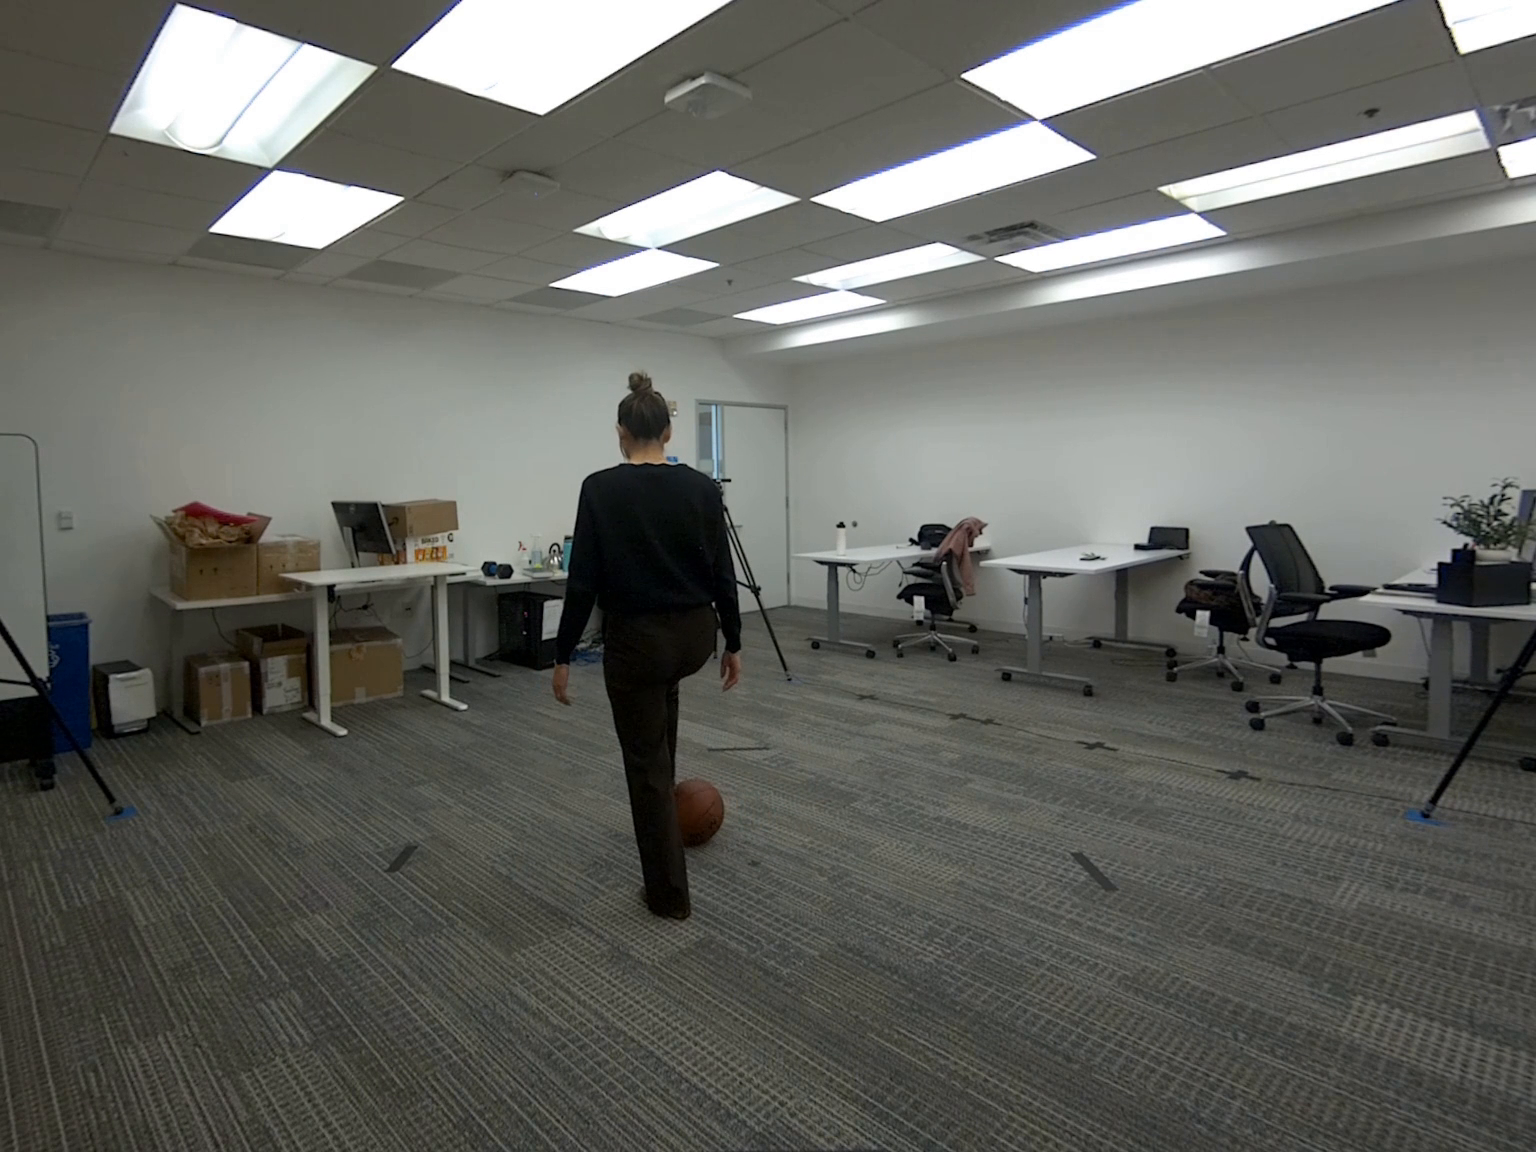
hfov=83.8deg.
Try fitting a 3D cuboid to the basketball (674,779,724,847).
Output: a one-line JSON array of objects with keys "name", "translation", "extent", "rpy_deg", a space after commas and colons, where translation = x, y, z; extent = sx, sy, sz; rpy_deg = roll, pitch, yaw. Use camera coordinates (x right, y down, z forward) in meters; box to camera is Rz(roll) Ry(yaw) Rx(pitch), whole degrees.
[{"name": "basketball", "translation": [-0.282, 0.909, 3.298], "extent": [0.236, 0.235, 0.237], "rpy_deg": [-1, 5, -2]}]
